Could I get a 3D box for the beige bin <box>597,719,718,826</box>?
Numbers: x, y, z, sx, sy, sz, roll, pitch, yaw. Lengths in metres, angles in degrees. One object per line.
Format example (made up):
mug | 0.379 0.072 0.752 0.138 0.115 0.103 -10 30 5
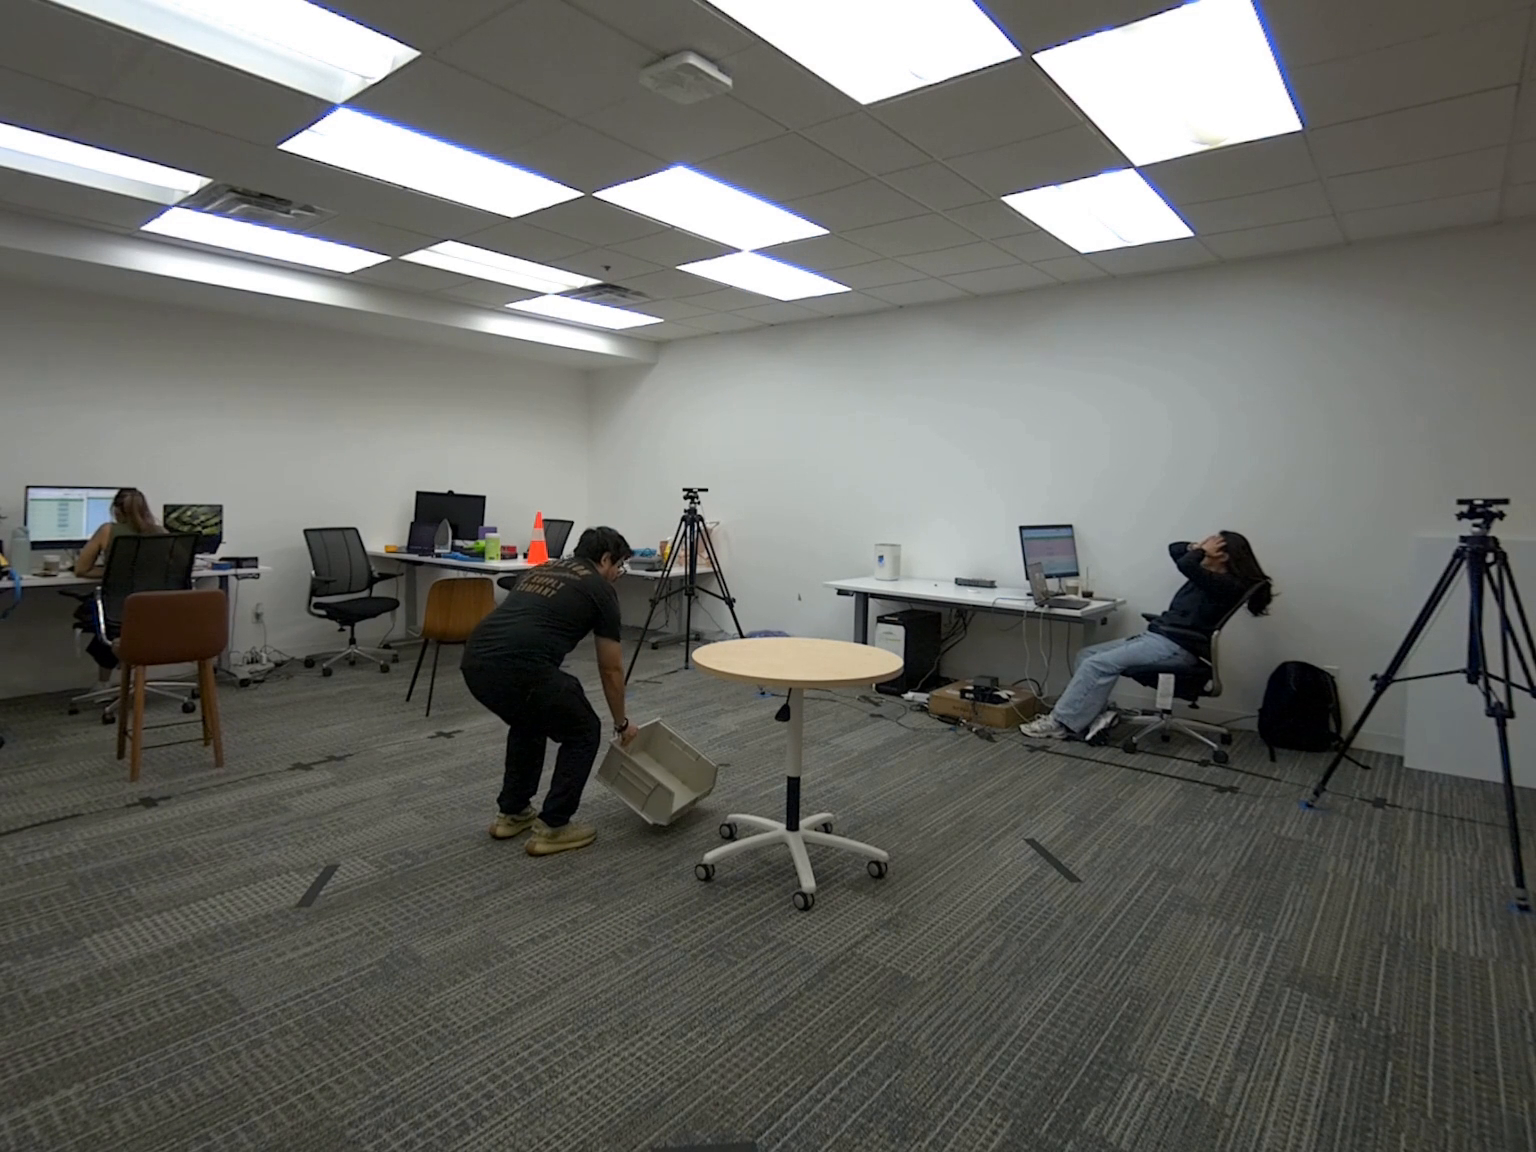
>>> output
beige bin | -0.468 0.825 3.582 0.387 0.188 0.413 32 14 18
